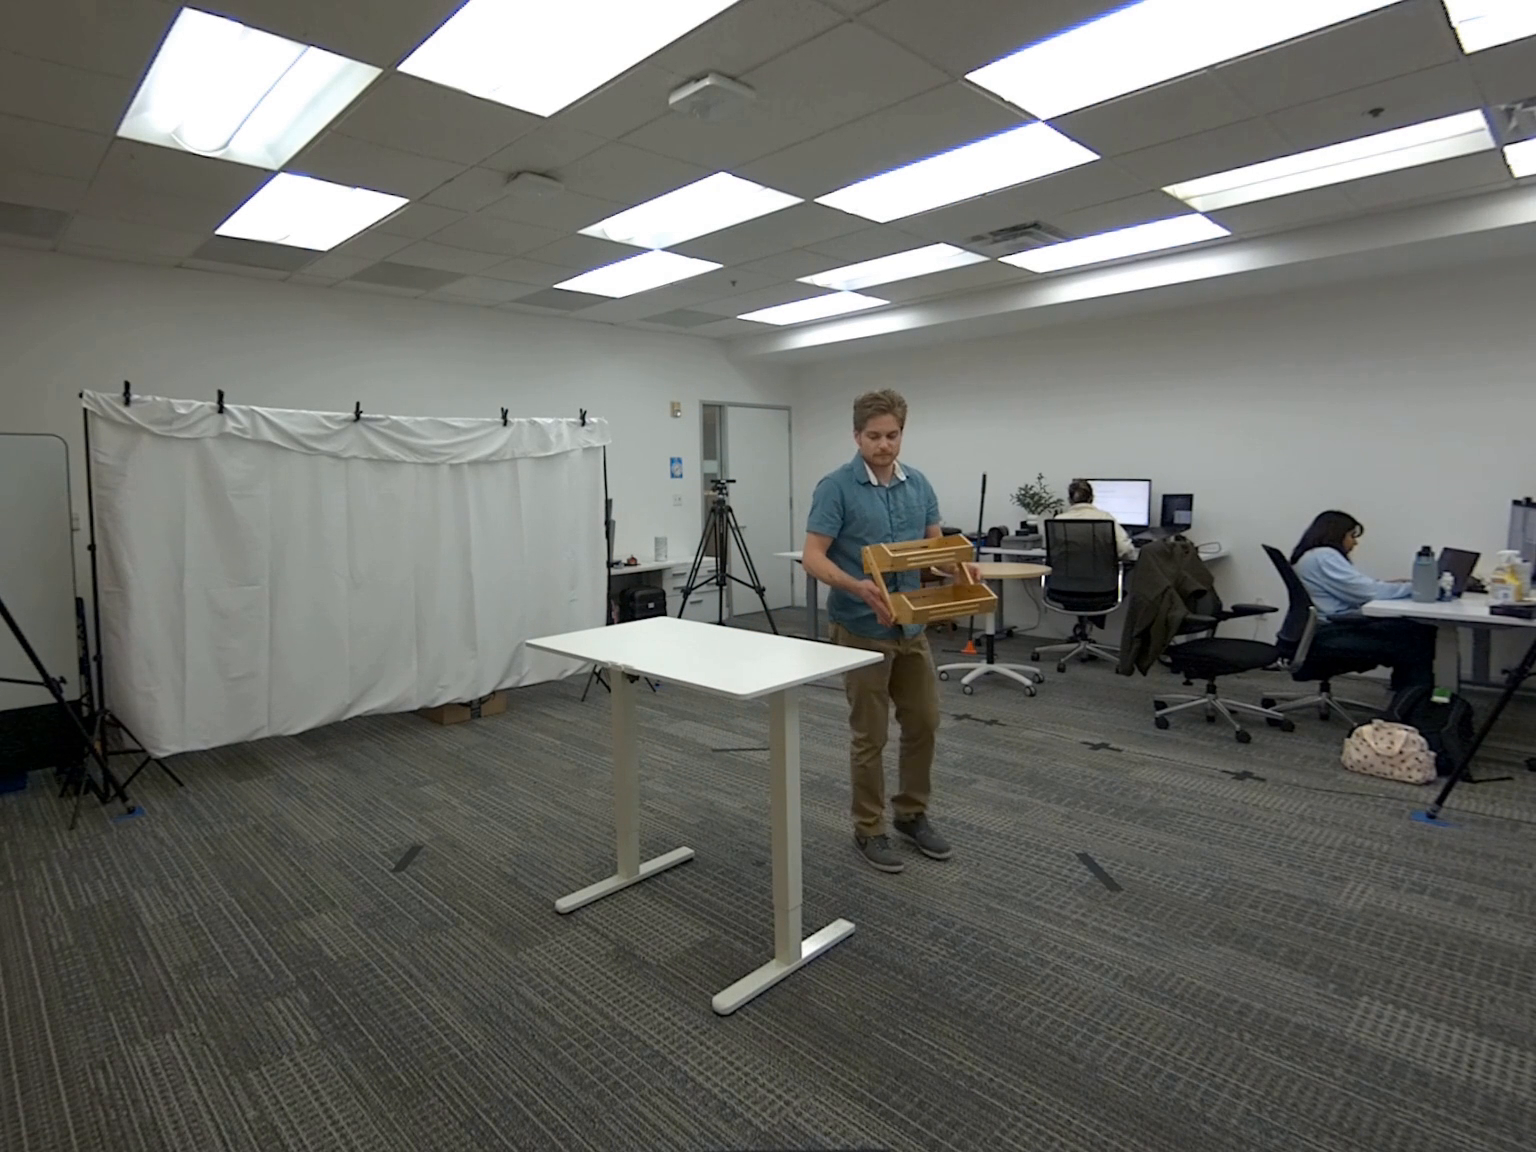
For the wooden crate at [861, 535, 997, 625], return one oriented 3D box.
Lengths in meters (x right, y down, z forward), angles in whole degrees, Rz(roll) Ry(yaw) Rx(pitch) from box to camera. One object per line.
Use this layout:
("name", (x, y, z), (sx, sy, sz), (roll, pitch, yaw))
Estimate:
("wooden crate", (0.521, 0.005, 2.791), (0.320, 0.274, 0.305), (-7, -2, -18))
